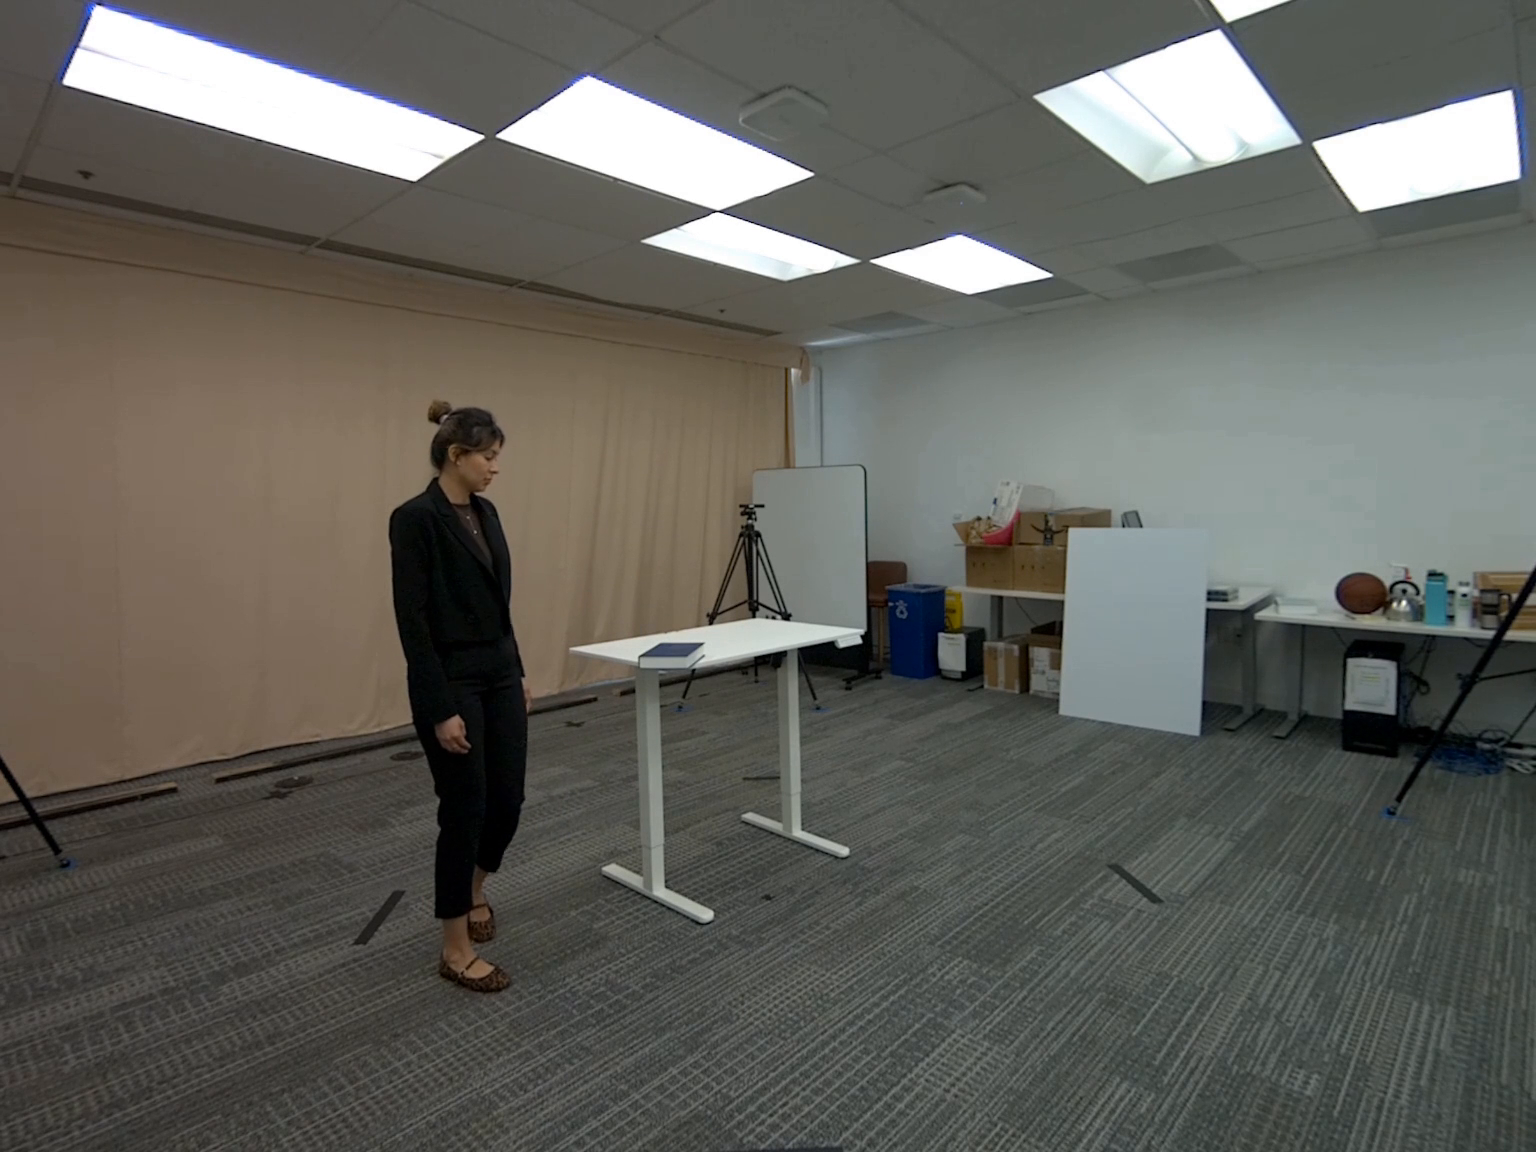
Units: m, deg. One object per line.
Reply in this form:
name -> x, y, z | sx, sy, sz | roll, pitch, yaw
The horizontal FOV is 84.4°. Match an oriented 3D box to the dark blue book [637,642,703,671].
dark blue book -> -0.307, 0.258, 2.759 | 0.165, 0.045, 0.243 | -1, 5, 10
